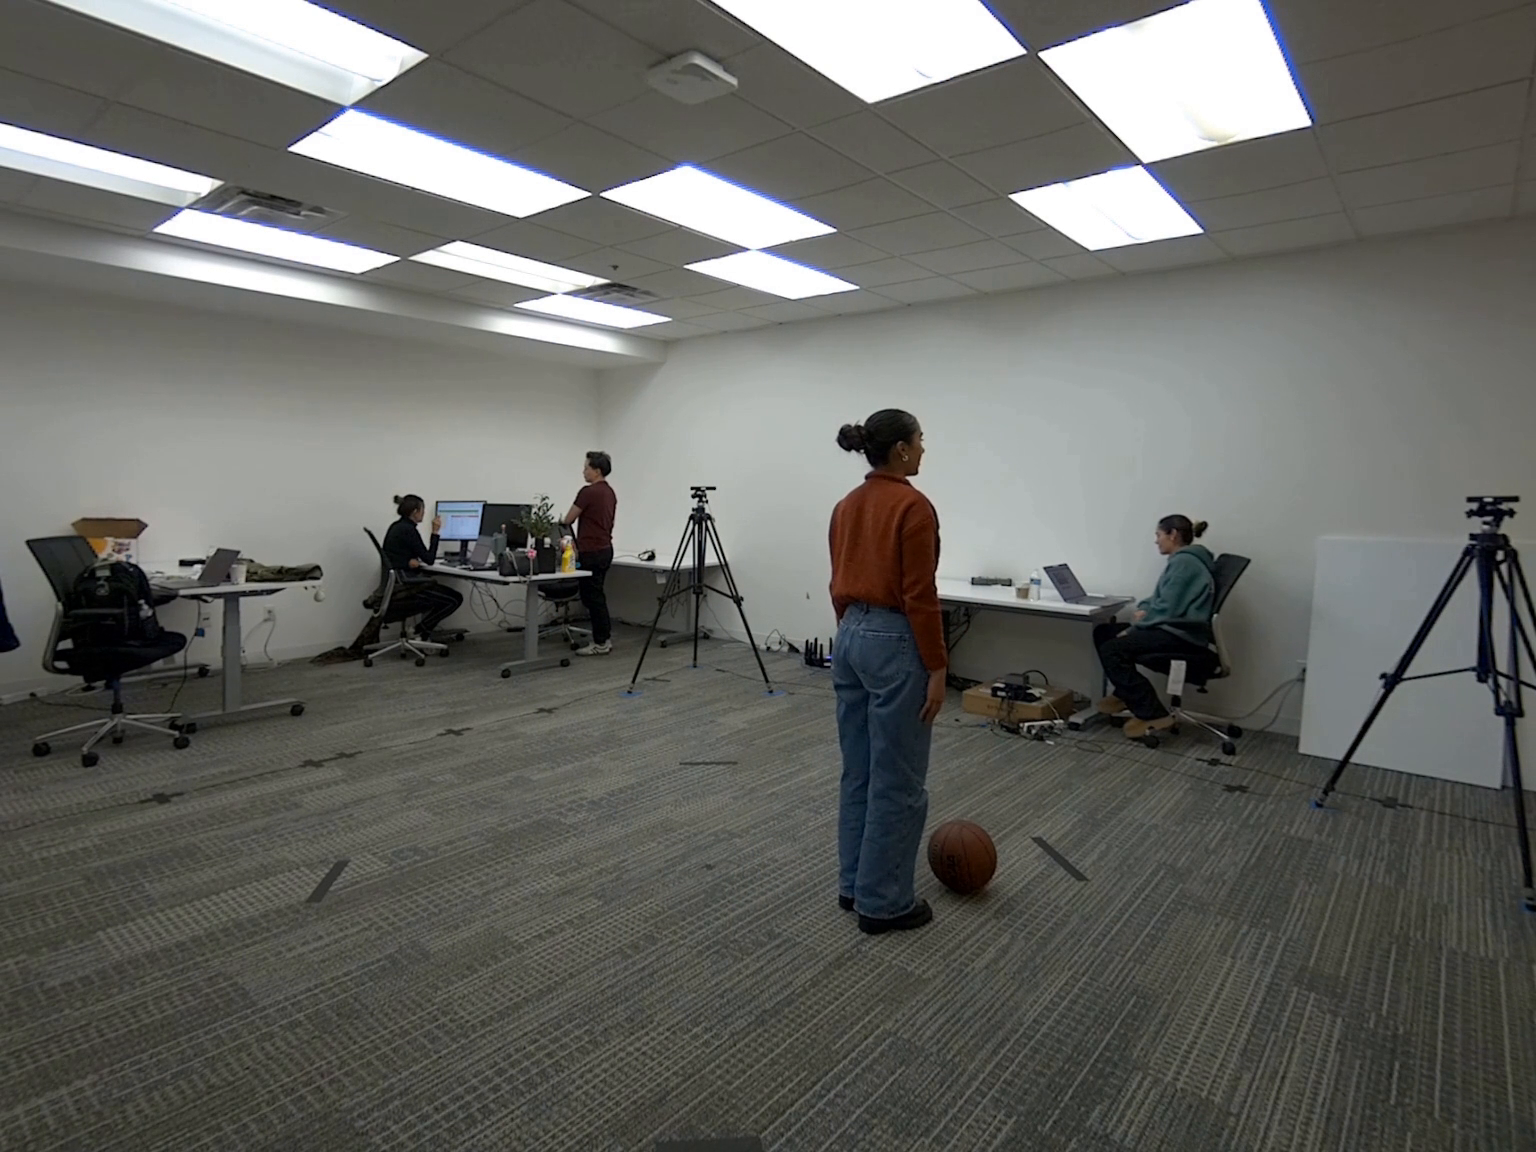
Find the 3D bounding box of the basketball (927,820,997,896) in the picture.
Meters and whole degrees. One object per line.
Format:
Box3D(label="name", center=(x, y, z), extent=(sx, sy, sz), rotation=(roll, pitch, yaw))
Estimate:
Box3D(label="basketball", center=(0.673, 0.974, 2.993), extent=(0.236, 0.235, 0.237), rotation=(1, 4, -2))
